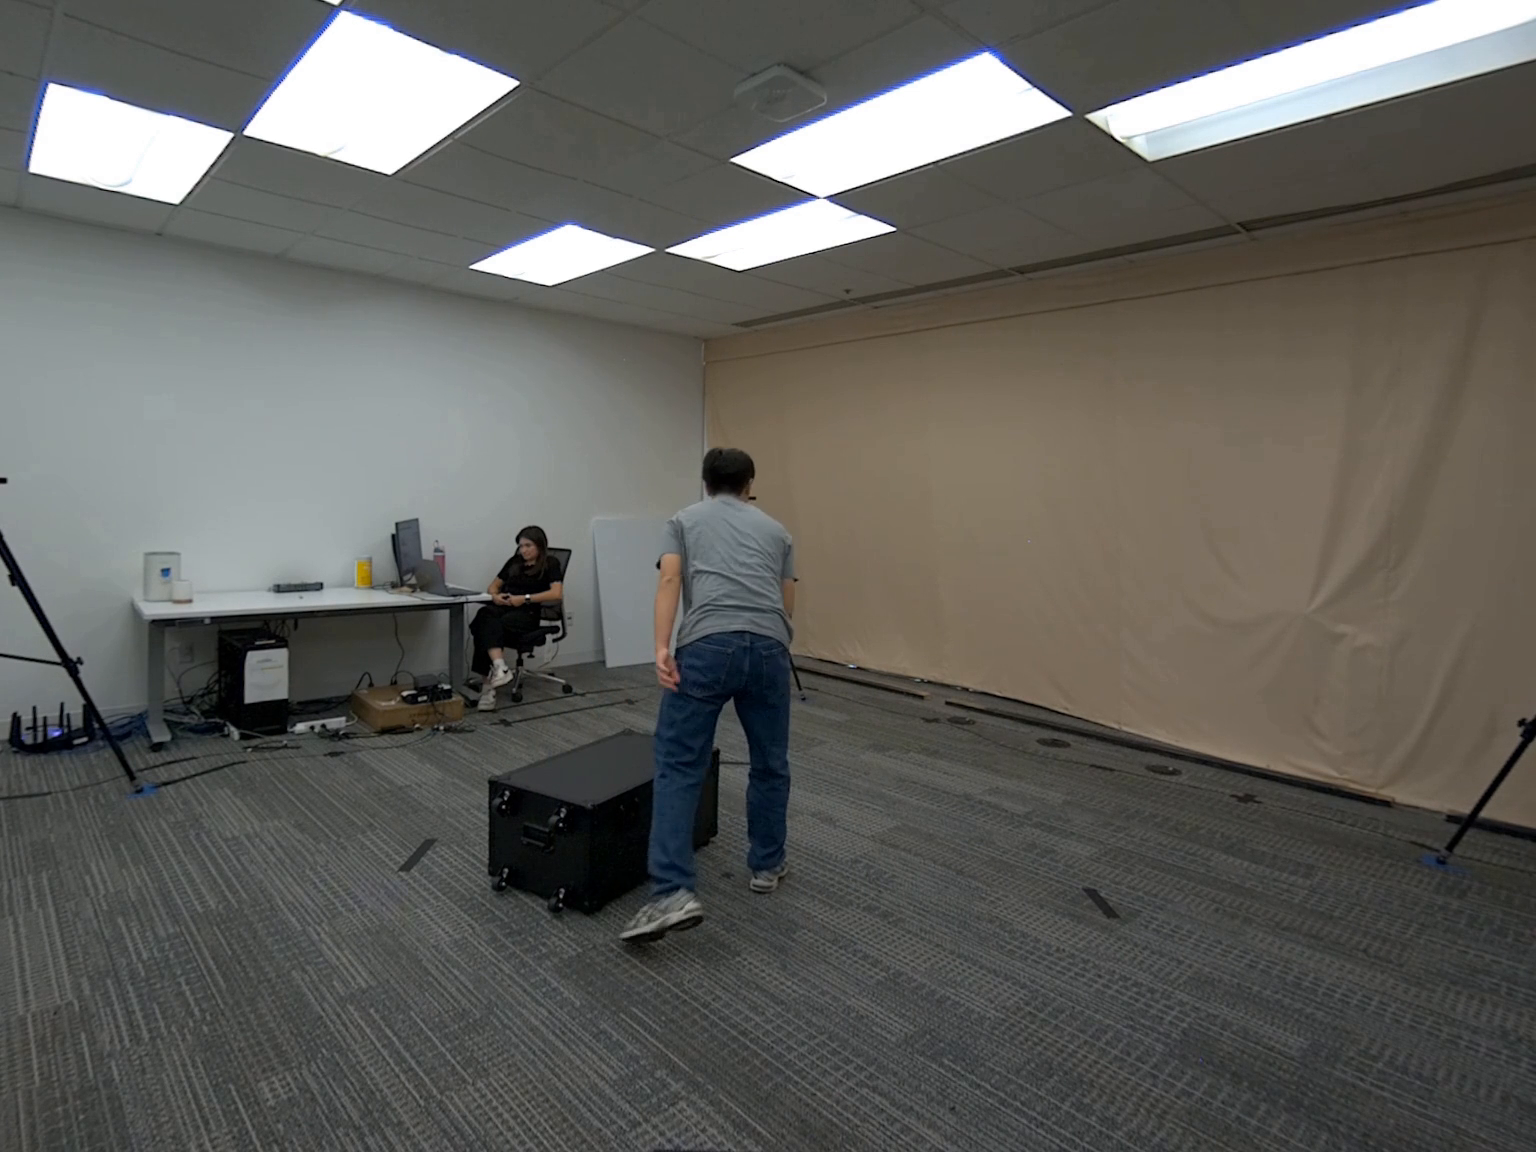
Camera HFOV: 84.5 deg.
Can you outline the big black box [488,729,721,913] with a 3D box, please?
[{"bbox_3d":[-0.623,0.898,3.181,0.533,0.395,0.845,5,6,30],"label":"big black box"}]
